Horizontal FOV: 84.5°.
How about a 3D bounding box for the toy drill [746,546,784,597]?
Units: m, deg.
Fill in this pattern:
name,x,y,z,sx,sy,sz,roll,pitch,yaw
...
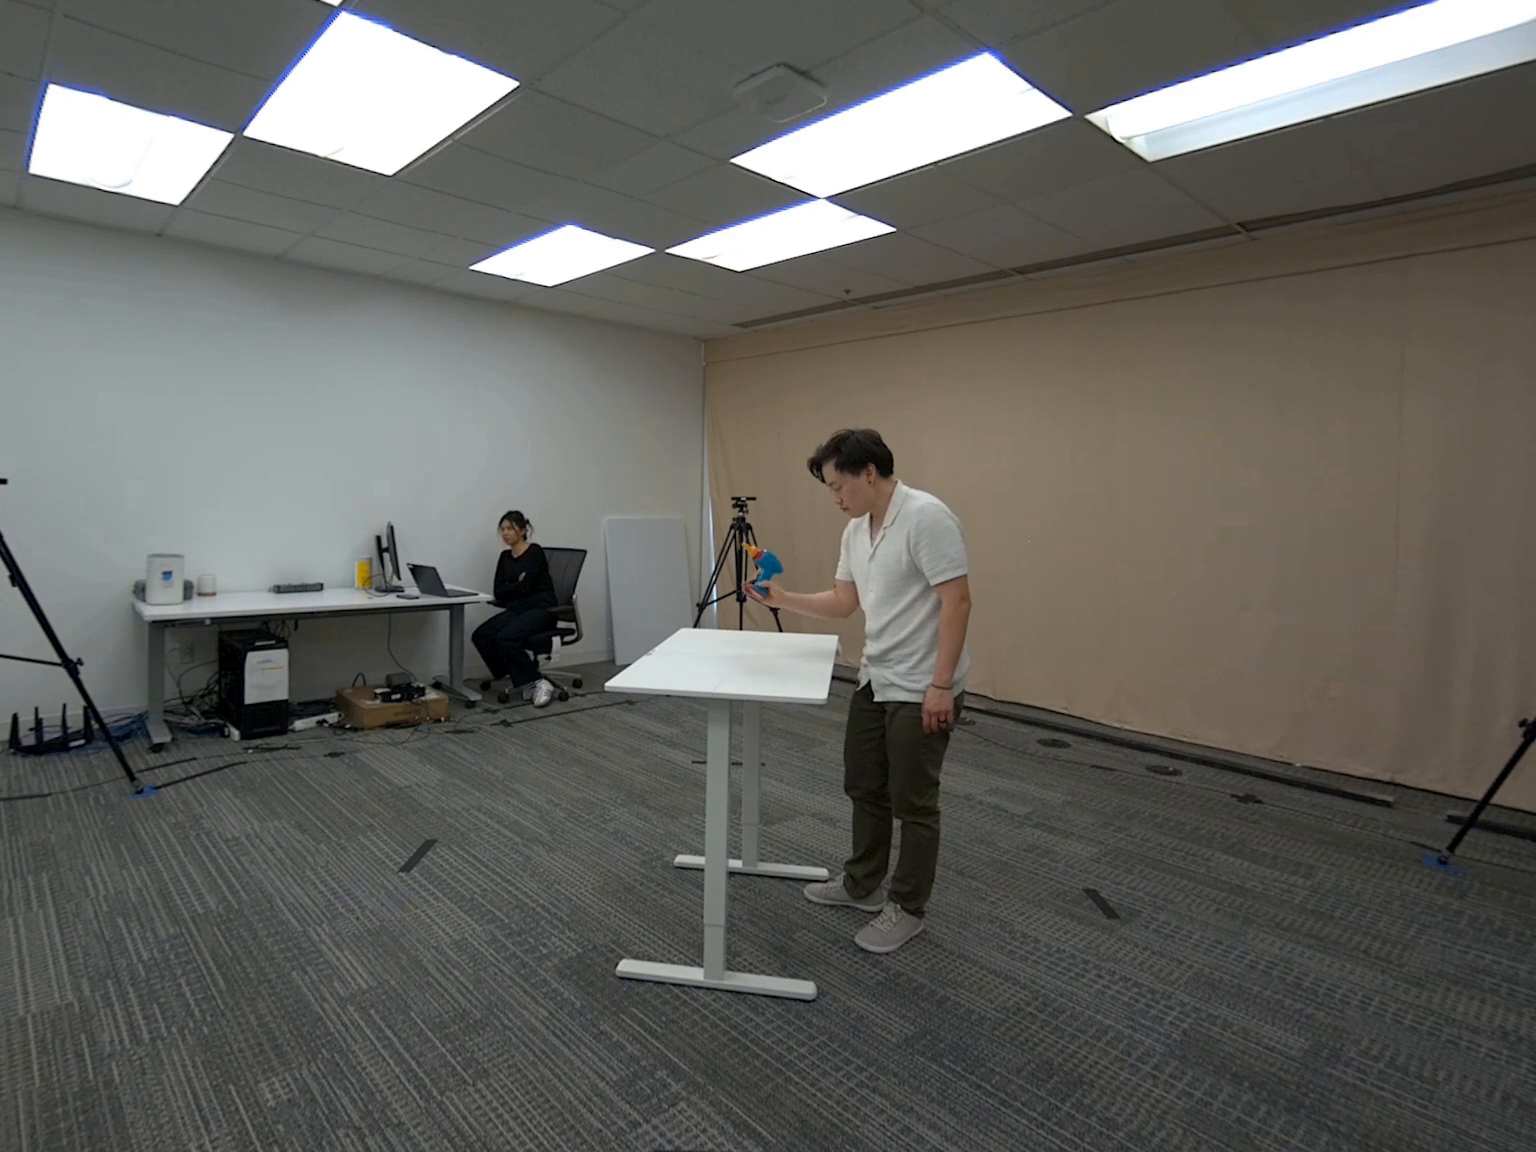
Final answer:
name,x,y,z,sx,sy,sz,roll,pitch,yaw
toy drill,-0.037,-0.024,2.750,0.166,0.146,0.062,34,-11,-21
